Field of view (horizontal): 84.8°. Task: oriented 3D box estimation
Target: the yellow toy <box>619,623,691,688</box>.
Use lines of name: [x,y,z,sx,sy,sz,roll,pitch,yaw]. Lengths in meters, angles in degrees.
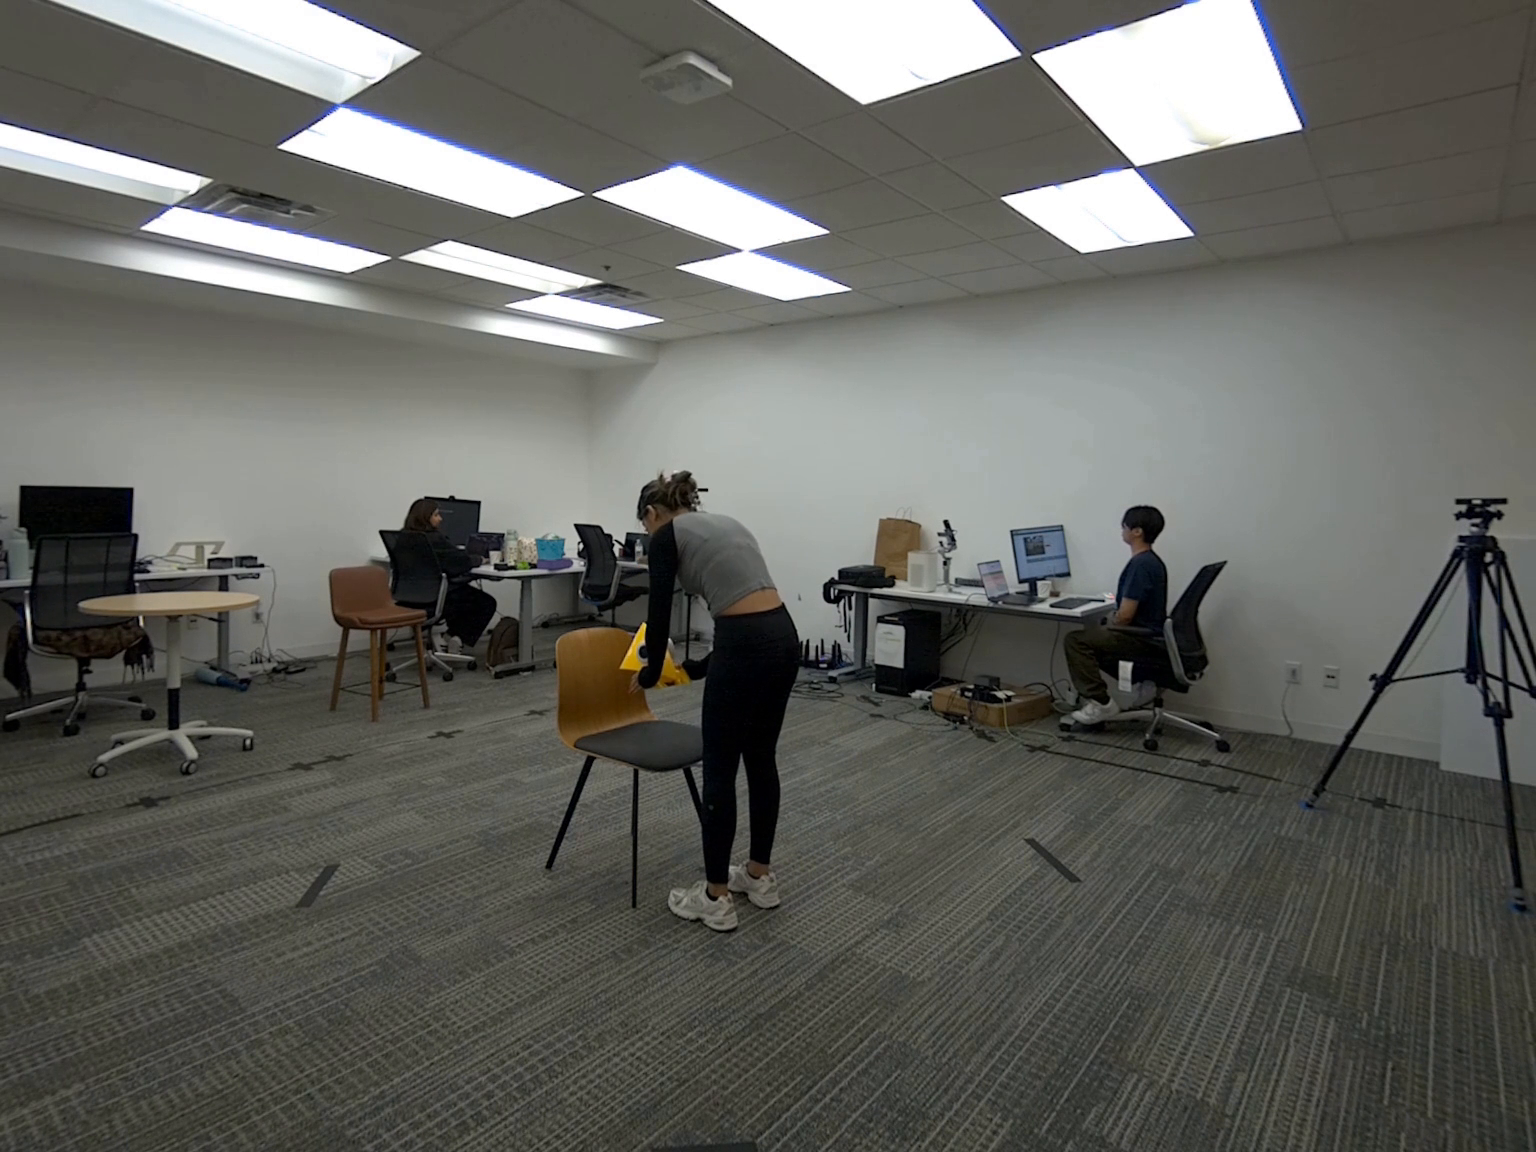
yellow toy: [-0.406,0.274,3.029,0.198,0.232,0.198,-2,-6,-44]
